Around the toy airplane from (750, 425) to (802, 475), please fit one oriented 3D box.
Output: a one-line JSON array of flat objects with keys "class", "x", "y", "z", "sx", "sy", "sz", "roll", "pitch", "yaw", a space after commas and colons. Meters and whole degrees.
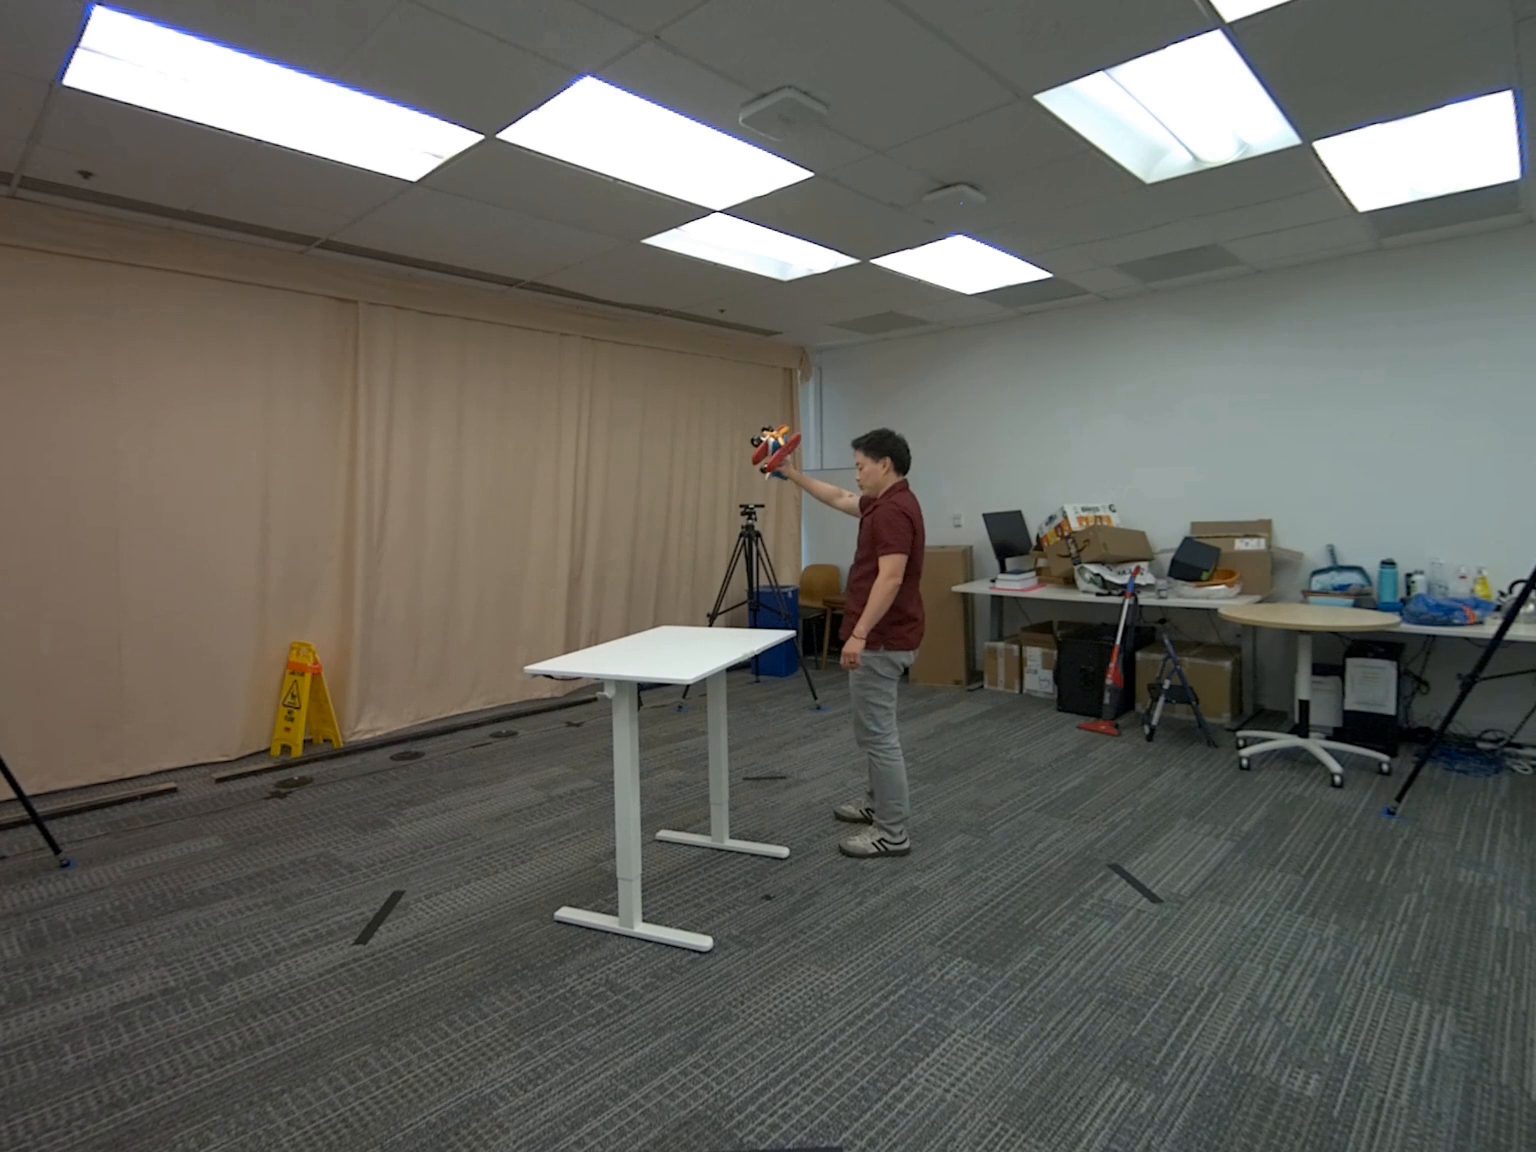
[{"class": "toy airplane", "x": 0.045, "y": -0.553, "z": 3.748, "sx": 0.162, "sy": 0.251, "sz": 0.250, "roll": 21, "pitch": -10, "yaw": 32}]
